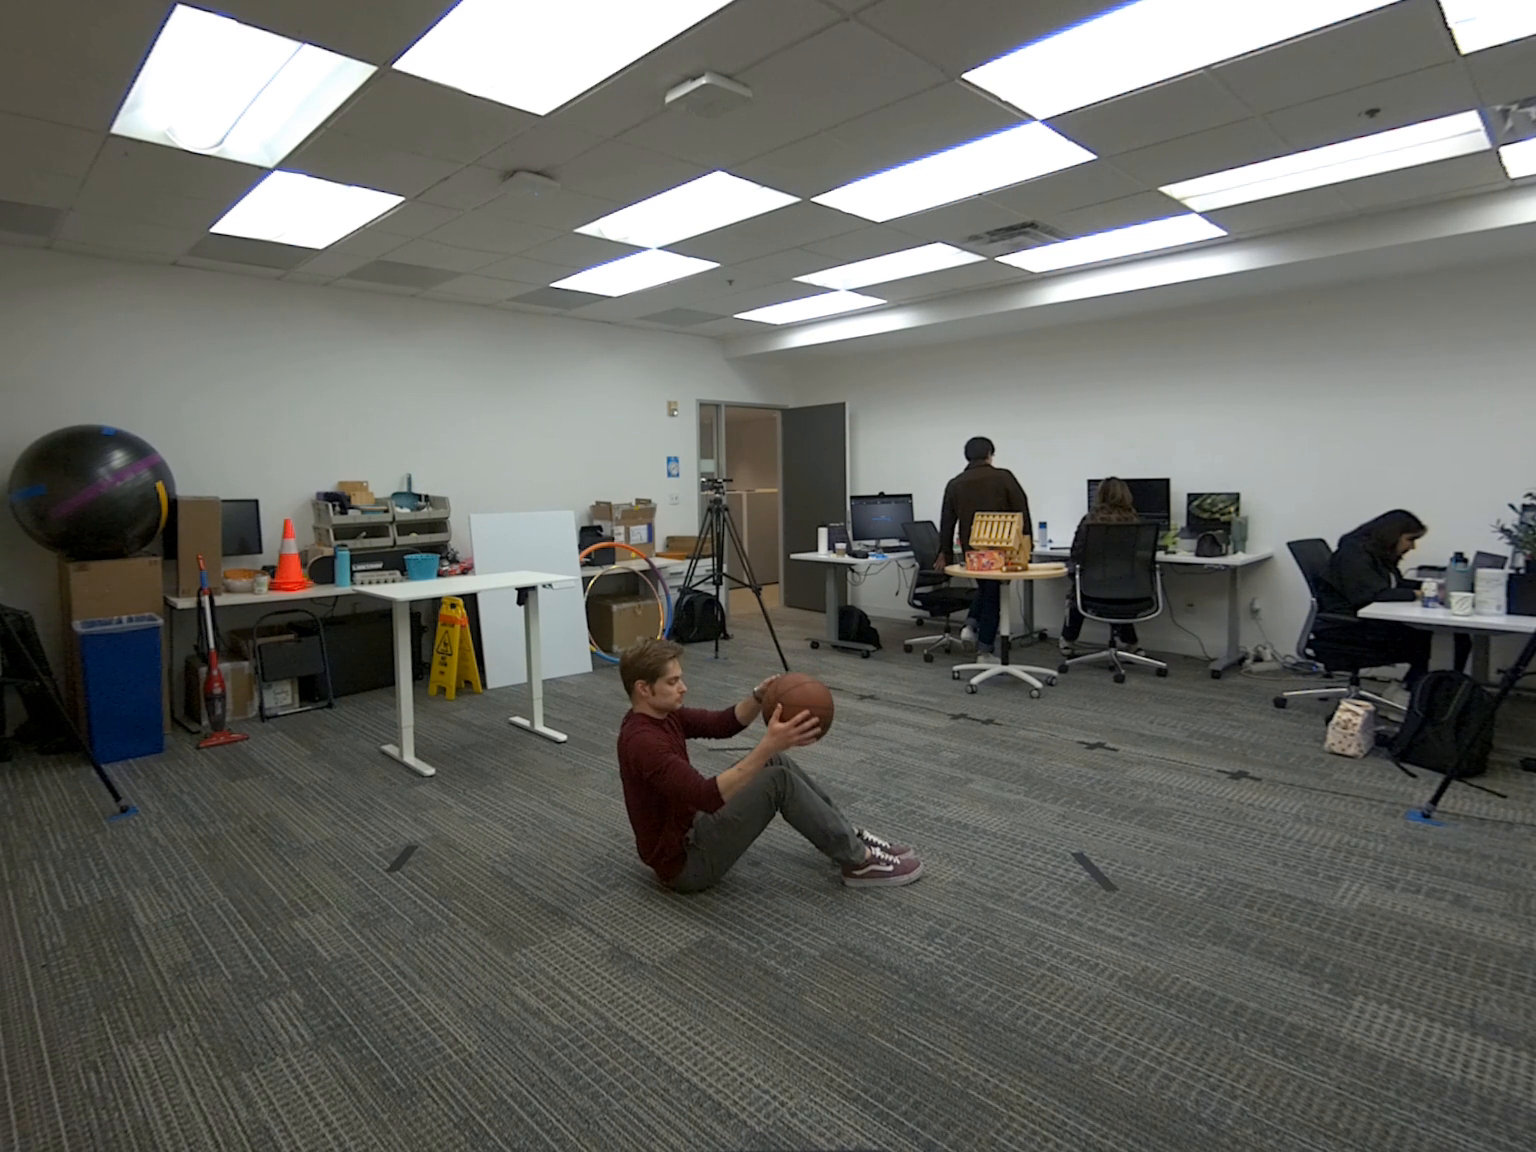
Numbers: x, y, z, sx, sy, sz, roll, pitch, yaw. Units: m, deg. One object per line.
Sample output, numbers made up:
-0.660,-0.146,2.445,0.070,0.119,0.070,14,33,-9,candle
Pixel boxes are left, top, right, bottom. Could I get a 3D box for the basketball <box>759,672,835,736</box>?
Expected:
0.093,0.454,2.842,0.236,0.235,0.237,-1,5,-2,basketball
